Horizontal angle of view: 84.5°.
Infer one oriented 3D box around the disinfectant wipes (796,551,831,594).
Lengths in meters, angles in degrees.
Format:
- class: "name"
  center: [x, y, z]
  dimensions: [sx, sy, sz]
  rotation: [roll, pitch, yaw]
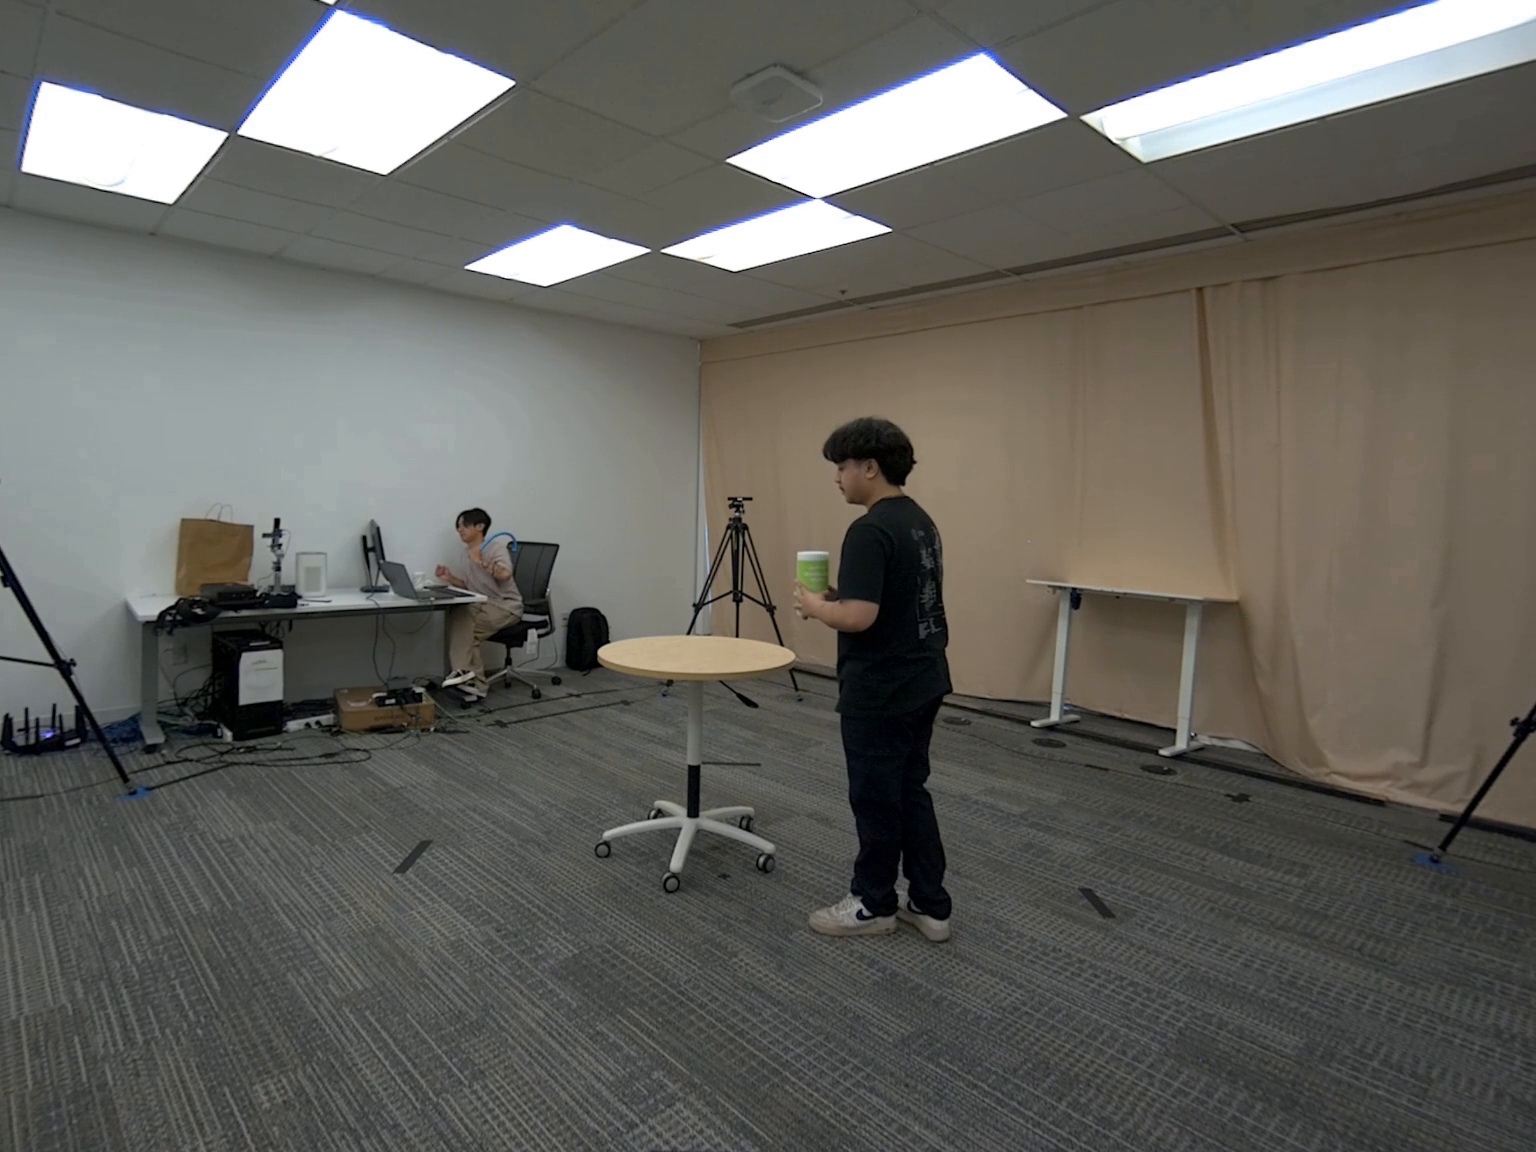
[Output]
- class: "disinfectant wipes"
  center: [0.150, 0.027, 2.835]
  dimensions: [0.118, 0.217, 0.118]
  rotation: [-1, 3, -1]
